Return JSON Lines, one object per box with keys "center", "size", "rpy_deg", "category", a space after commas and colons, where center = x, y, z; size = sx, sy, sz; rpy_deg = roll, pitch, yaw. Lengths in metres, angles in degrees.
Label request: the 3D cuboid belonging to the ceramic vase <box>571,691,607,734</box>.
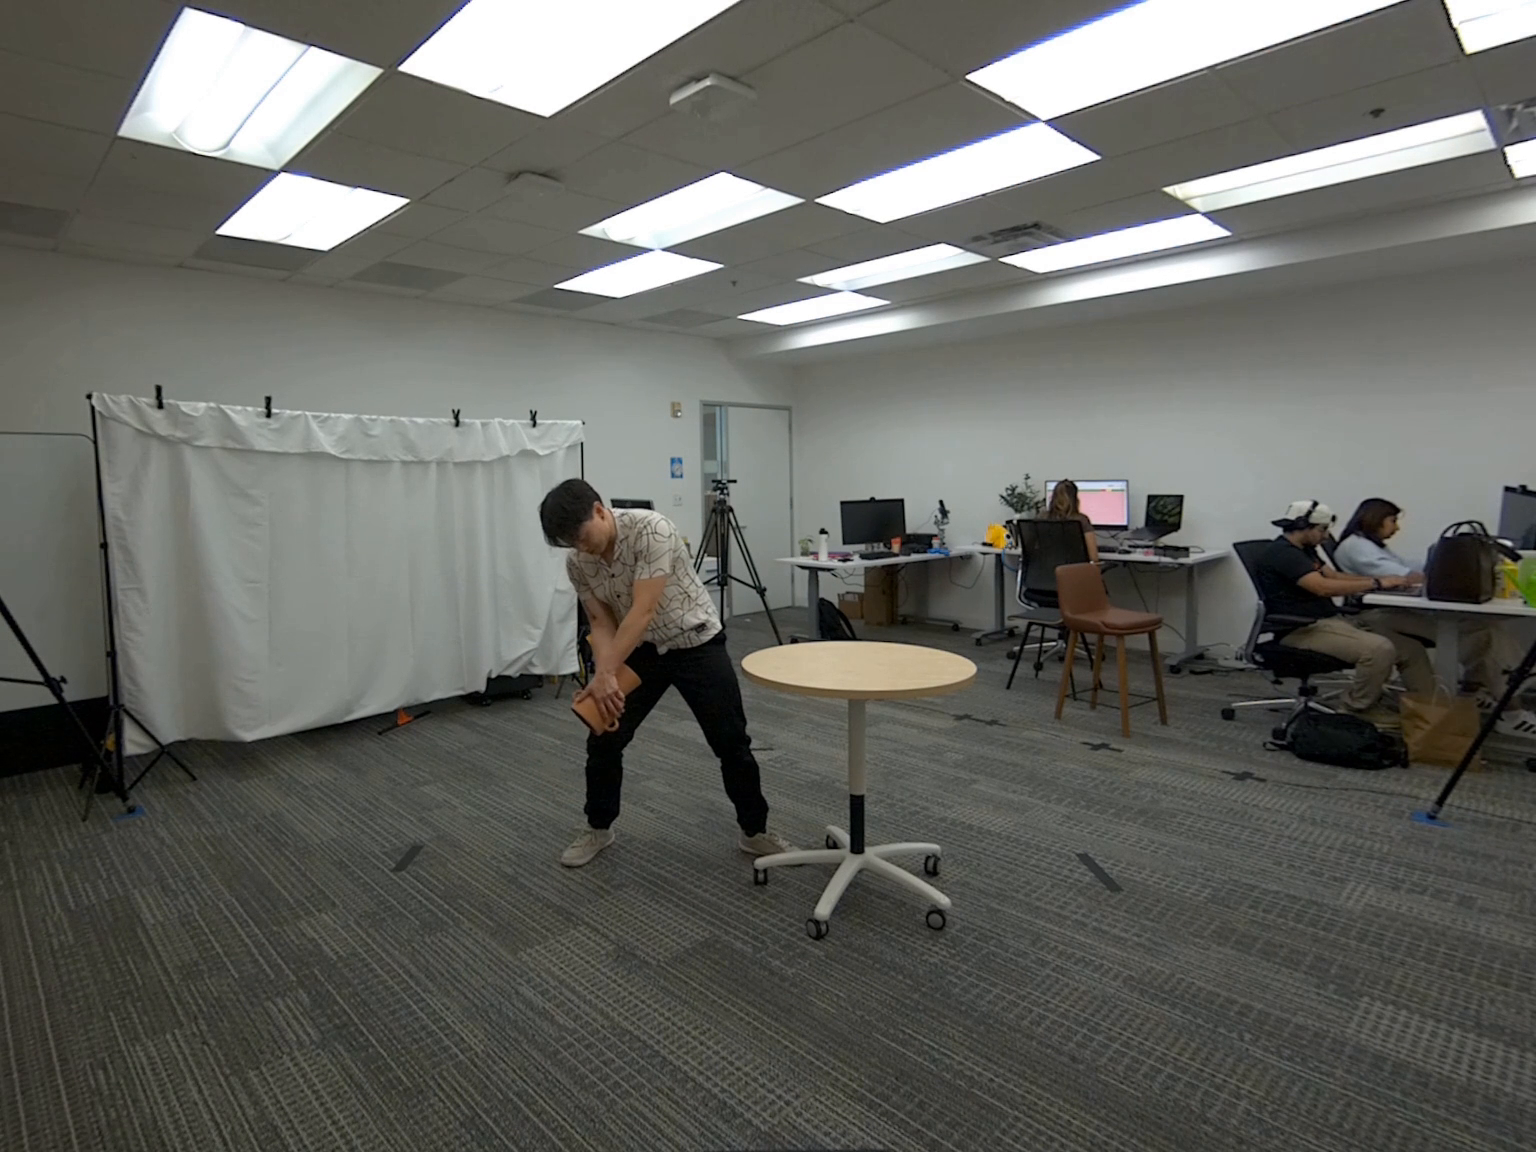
{"center": [-0.533, 0.401, 2.820], "size": [0.220, 0.155, 0.138], "rpy_deg": [-47, 23, -22], "category": "ceramic vase"}
